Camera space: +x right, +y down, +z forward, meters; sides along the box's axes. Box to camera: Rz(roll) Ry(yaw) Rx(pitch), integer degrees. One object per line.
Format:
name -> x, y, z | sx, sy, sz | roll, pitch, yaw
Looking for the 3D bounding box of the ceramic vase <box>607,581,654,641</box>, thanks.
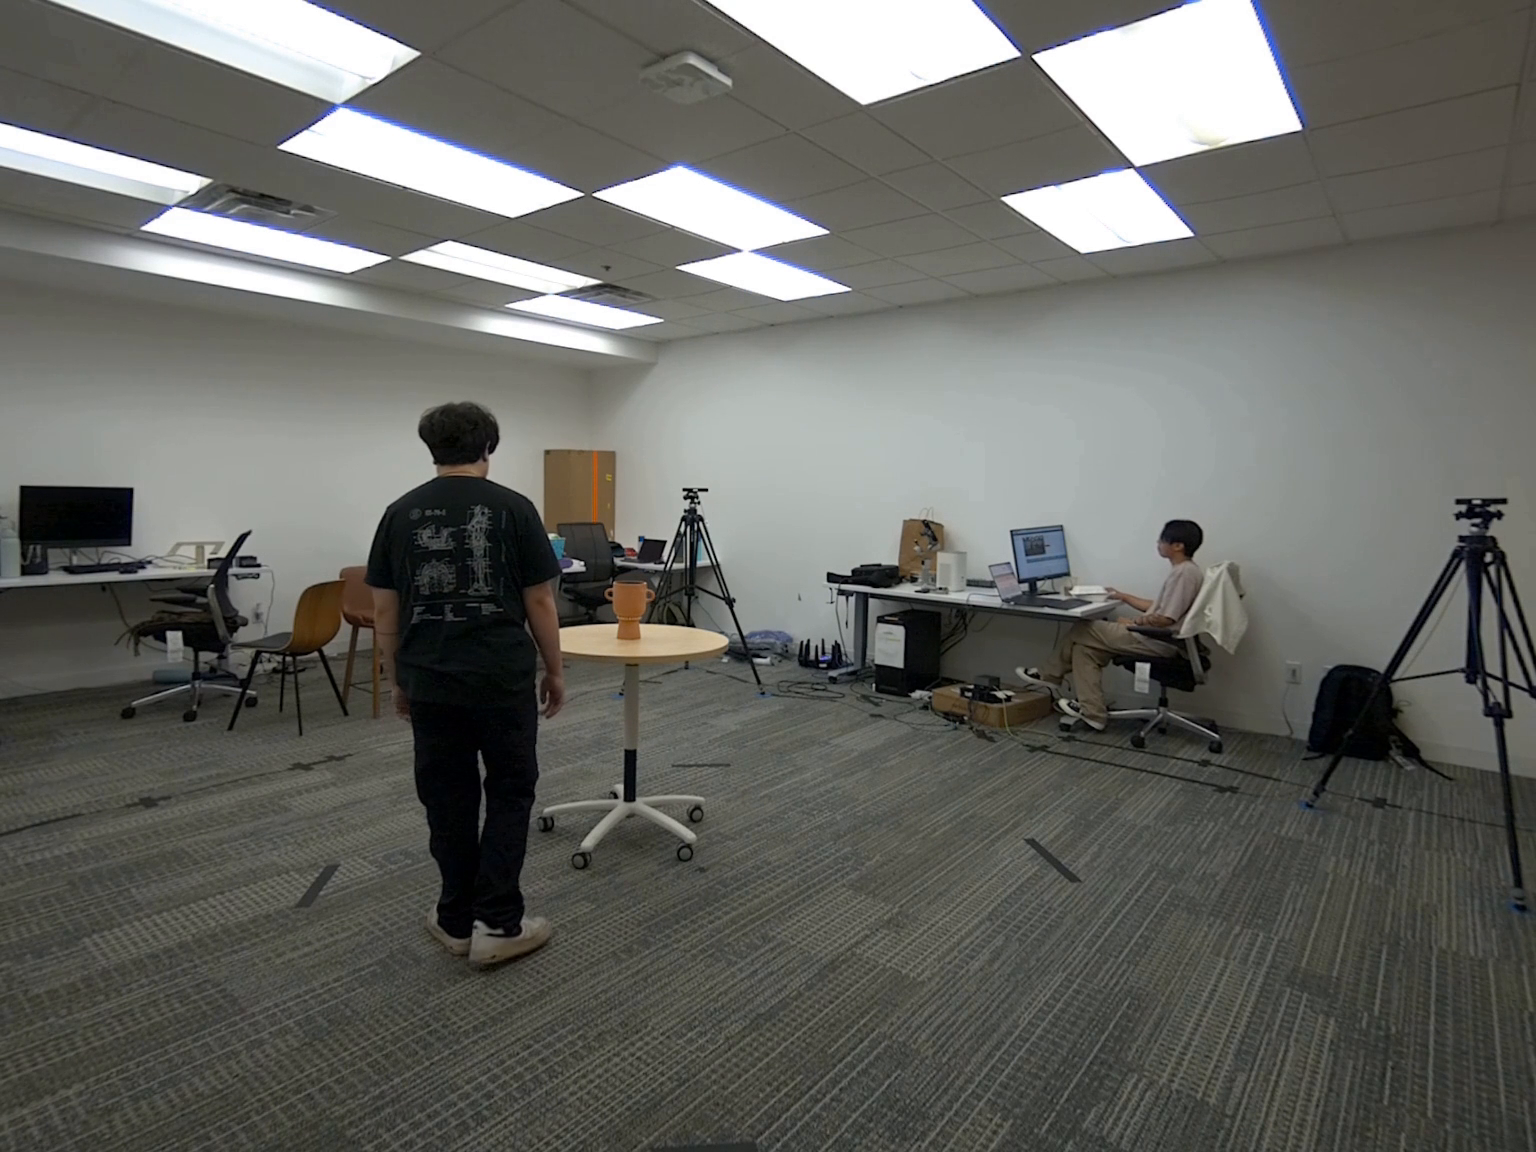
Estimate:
ceramic vase -> -0.566, 0.135, 3.384 | 0.164, 0.219, 0.131 | 5, 5, 38
